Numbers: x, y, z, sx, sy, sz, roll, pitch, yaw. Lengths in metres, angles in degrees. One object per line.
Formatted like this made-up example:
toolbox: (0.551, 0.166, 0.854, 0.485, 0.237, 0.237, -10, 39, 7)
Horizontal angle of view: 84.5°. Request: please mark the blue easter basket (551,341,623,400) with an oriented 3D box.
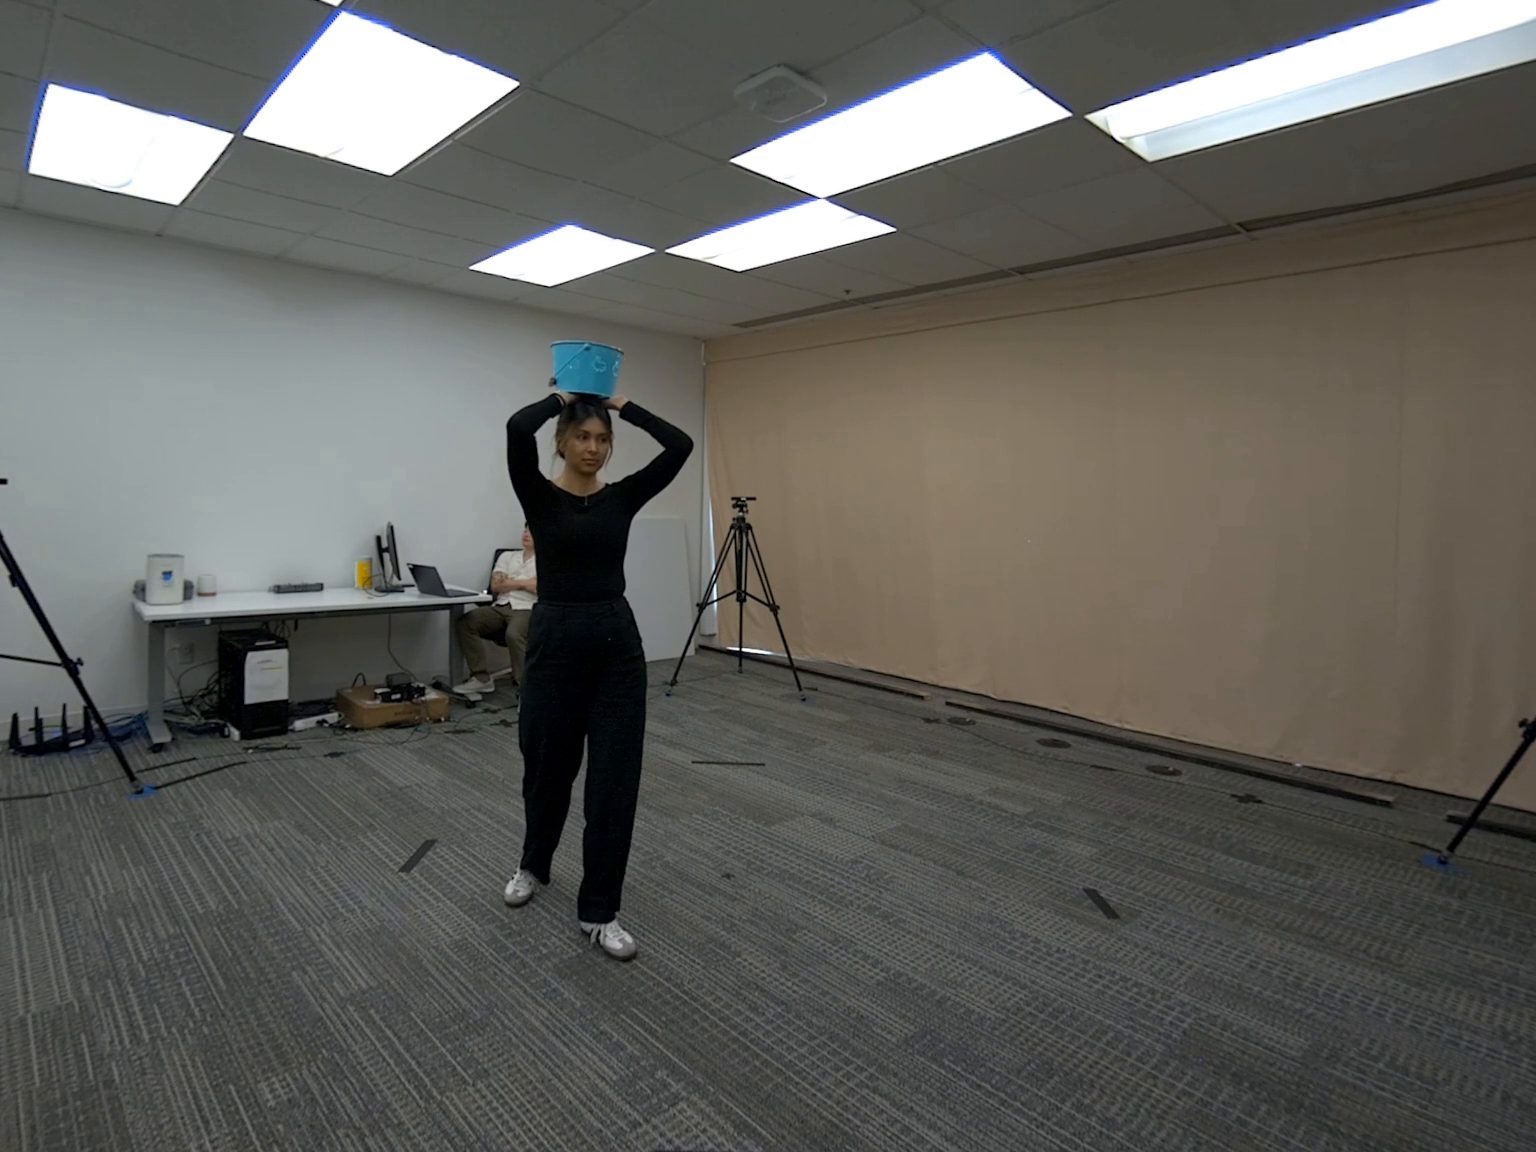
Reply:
blue easter basket: (-0.599, -0.652, 2.687, 0.243, 0.155, 0.244, 4, 4, -2)
